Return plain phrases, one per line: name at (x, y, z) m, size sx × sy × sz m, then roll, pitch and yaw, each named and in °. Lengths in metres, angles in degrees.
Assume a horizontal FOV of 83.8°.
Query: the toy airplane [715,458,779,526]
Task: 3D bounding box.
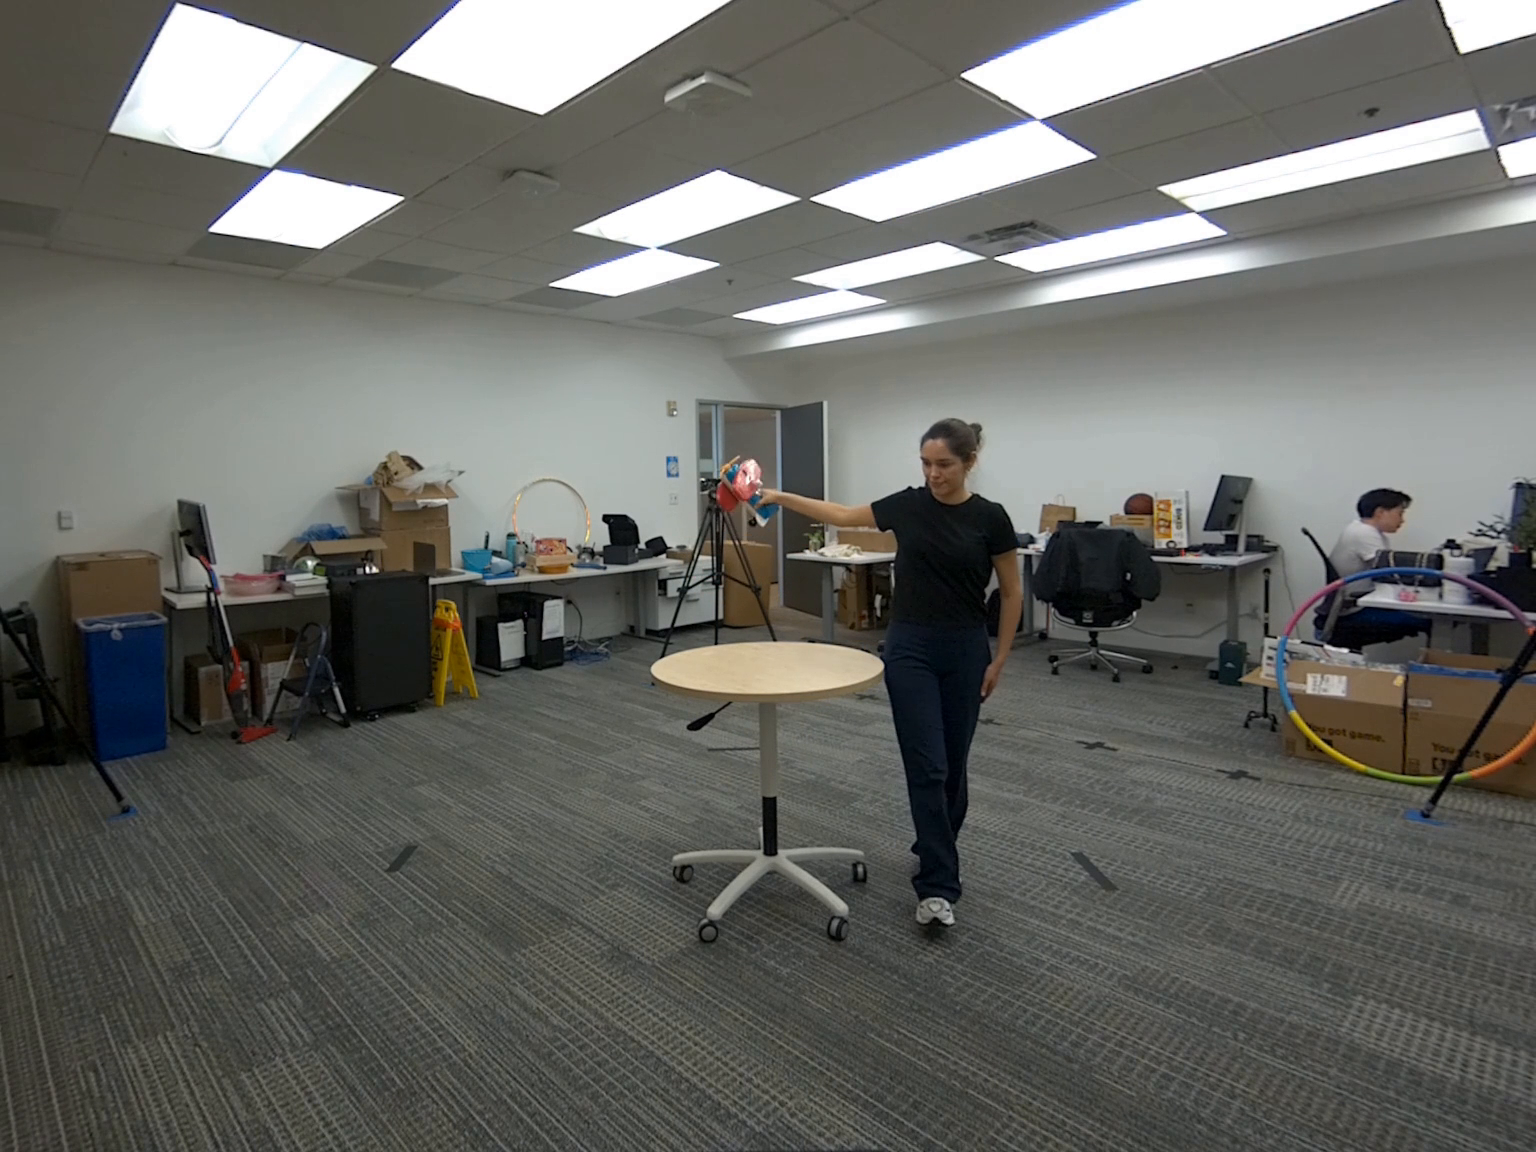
toy airplane at (-0.089, -0.307, 3.169) m, size 0.251 × 0.259 × 0.156 m, roll 20°, pitch -49°, yaw -30°
